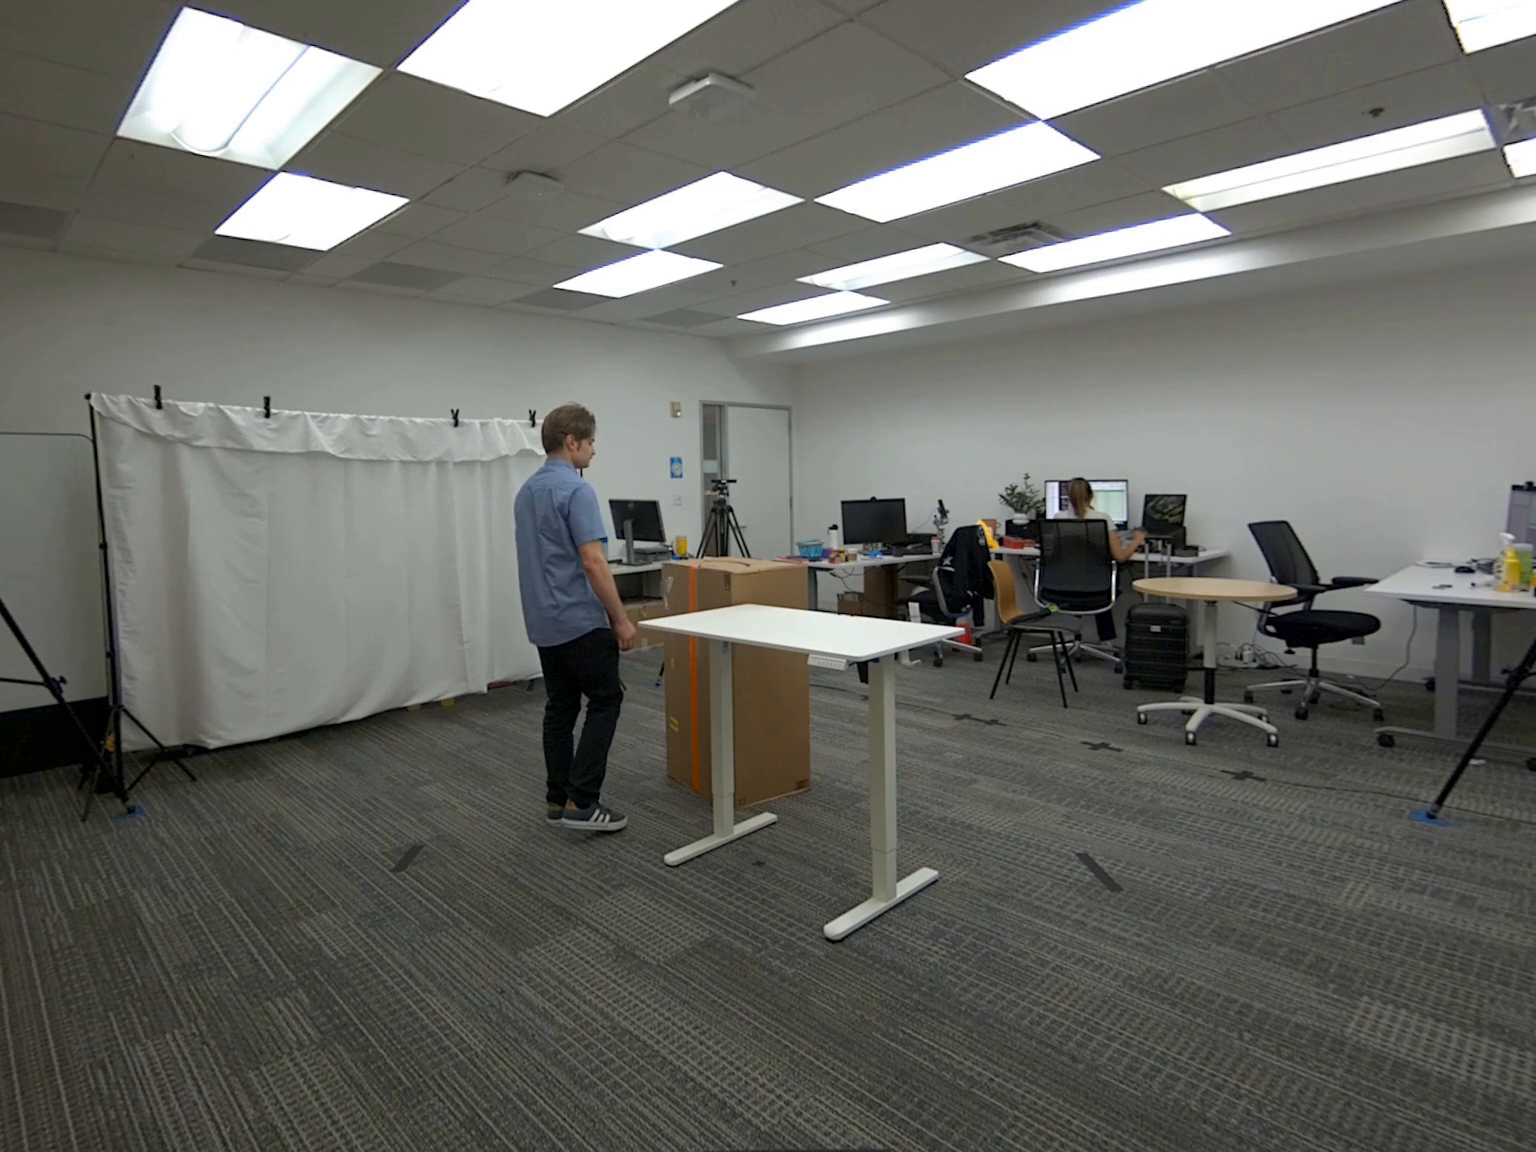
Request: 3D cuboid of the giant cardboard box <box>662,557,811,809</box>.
[{"bbox_3d":[-0.158,0.448,3.932,0.415,1.022,0.594,-4,5,-36],"label":"giant cardboard box"}]
